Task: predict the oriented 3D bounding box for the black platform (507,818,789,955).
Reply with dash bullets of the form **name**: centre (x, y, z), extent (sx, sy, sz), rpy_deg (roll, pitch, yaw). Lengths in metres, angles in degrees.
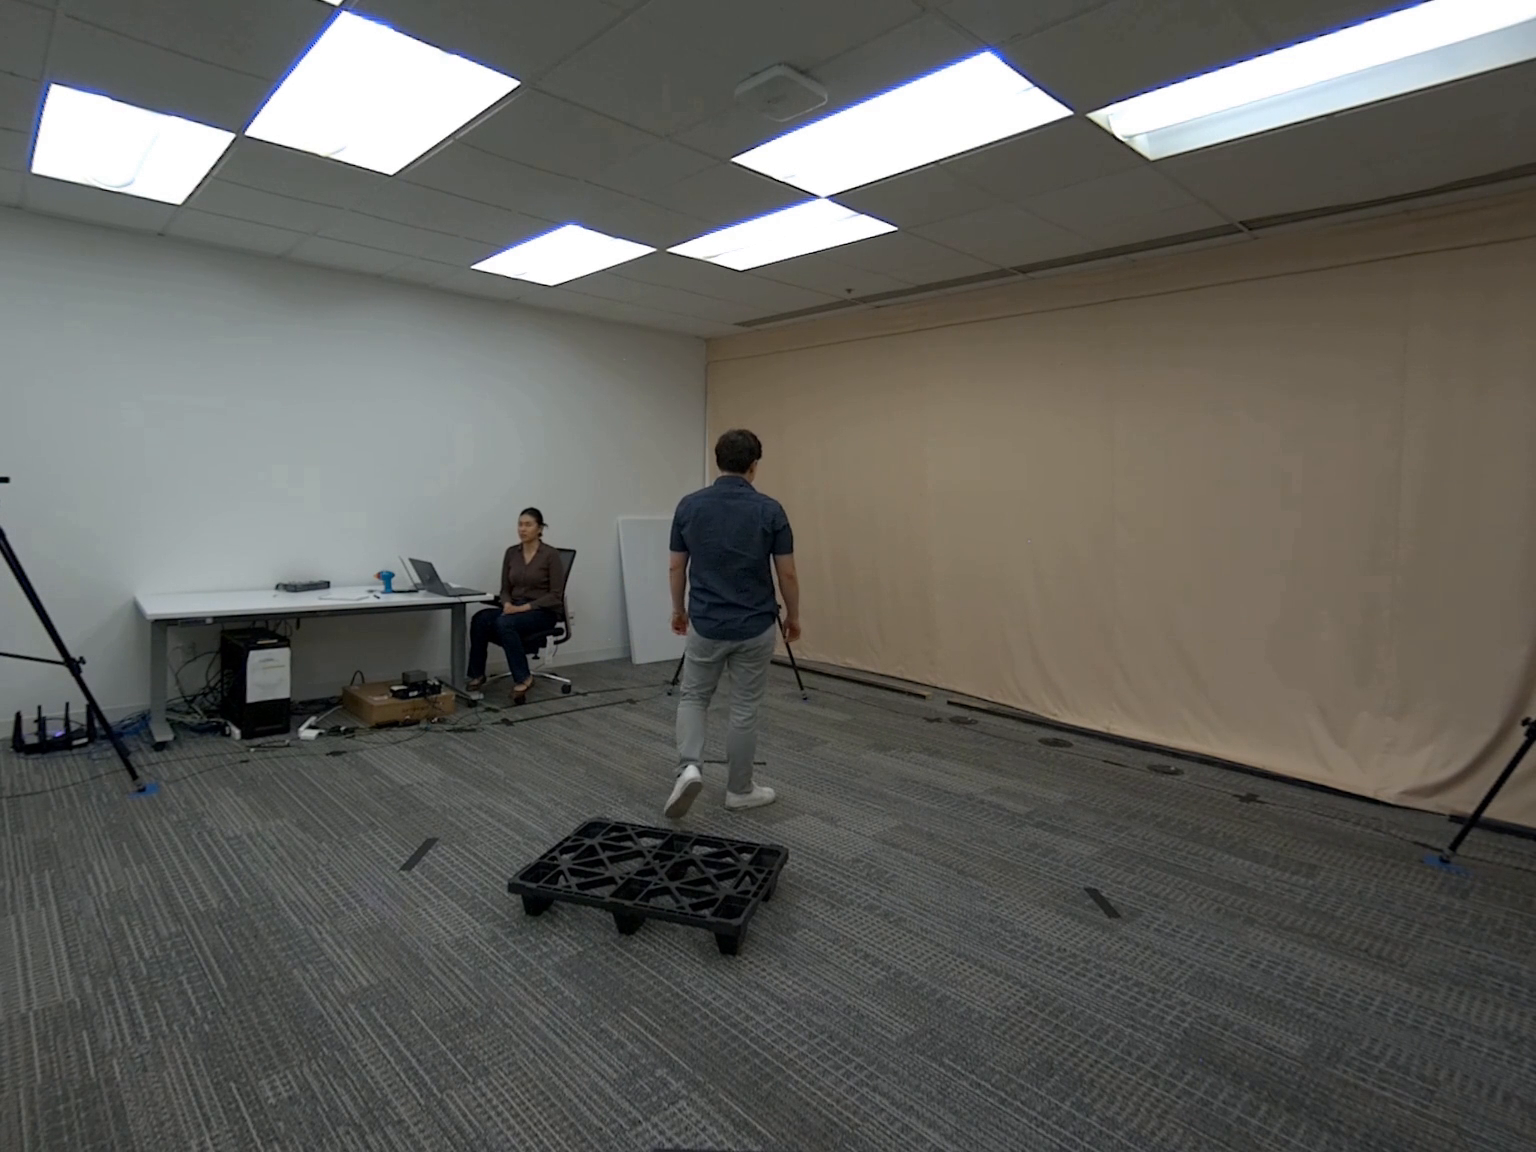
- **black platform**: centre (-0.388, 1.050, 2.880), extent (0.817, 0.143, 0.599), rpy_deg (3, 6, 17)
